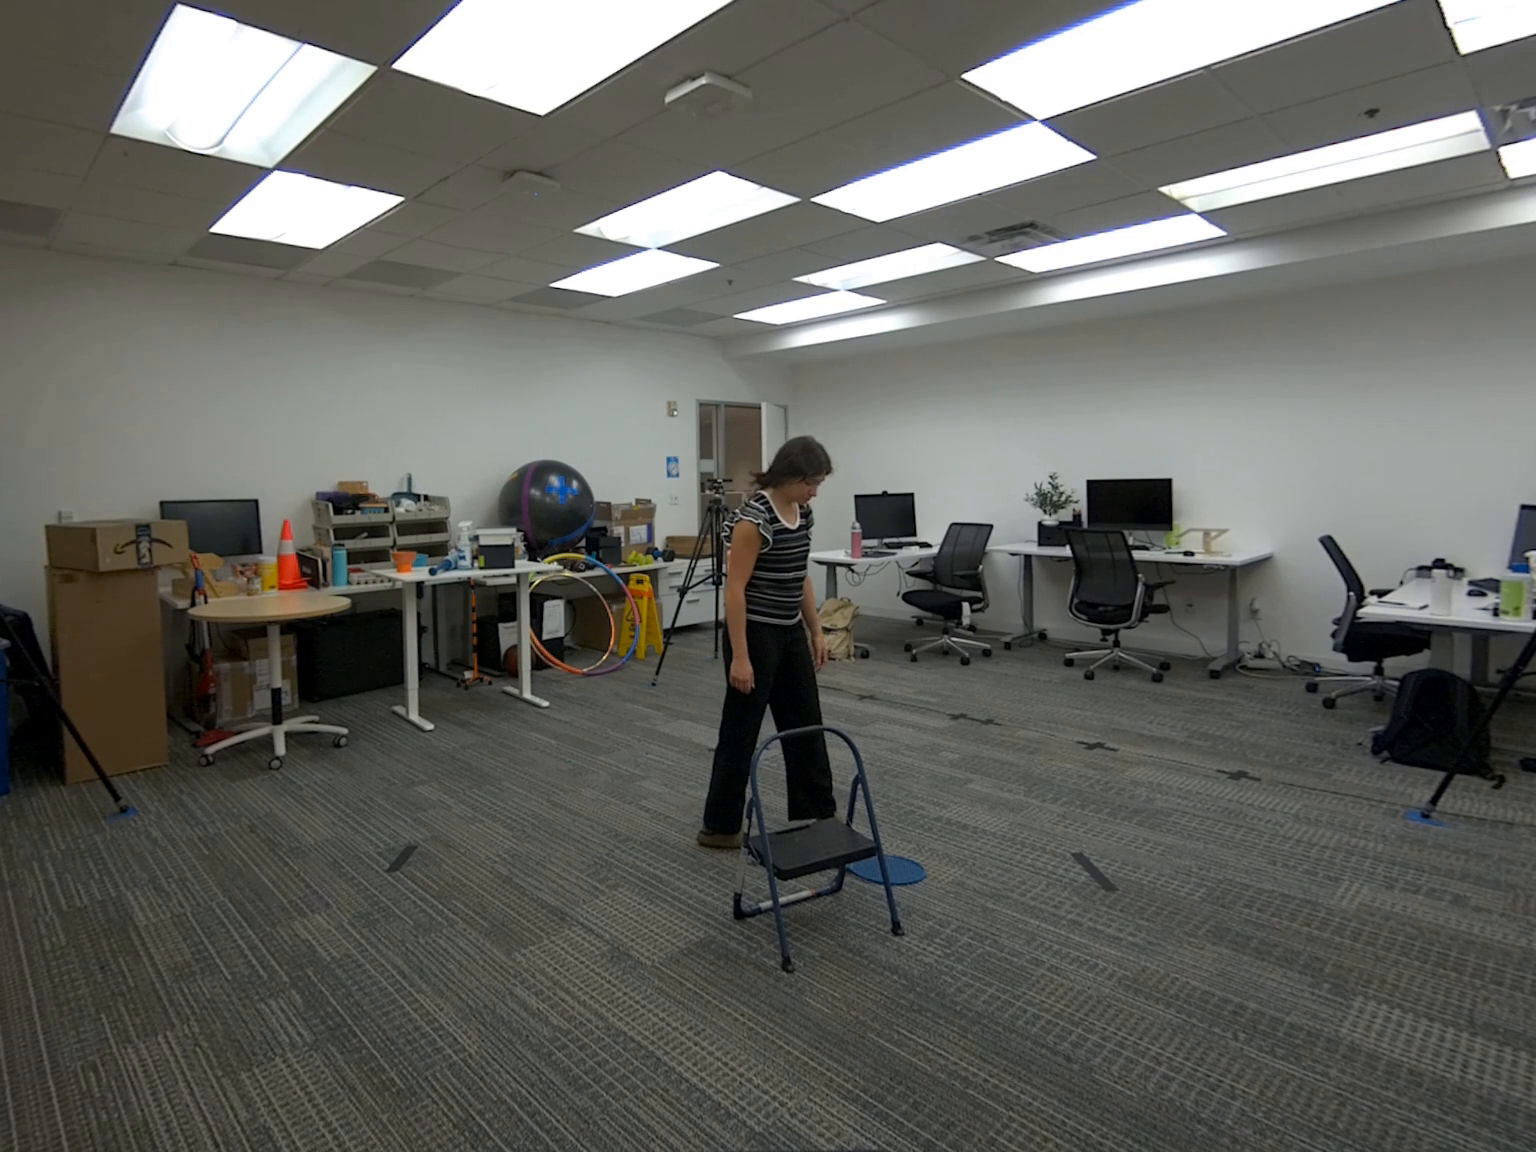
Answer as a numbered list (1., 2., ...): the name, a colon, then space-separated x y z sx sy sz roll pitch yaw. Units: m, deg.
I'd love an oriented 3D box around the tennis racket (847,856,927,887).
1. tennis racket: 0.338 1.026 3.043 0.440 0.031 0.211 3 7 16
